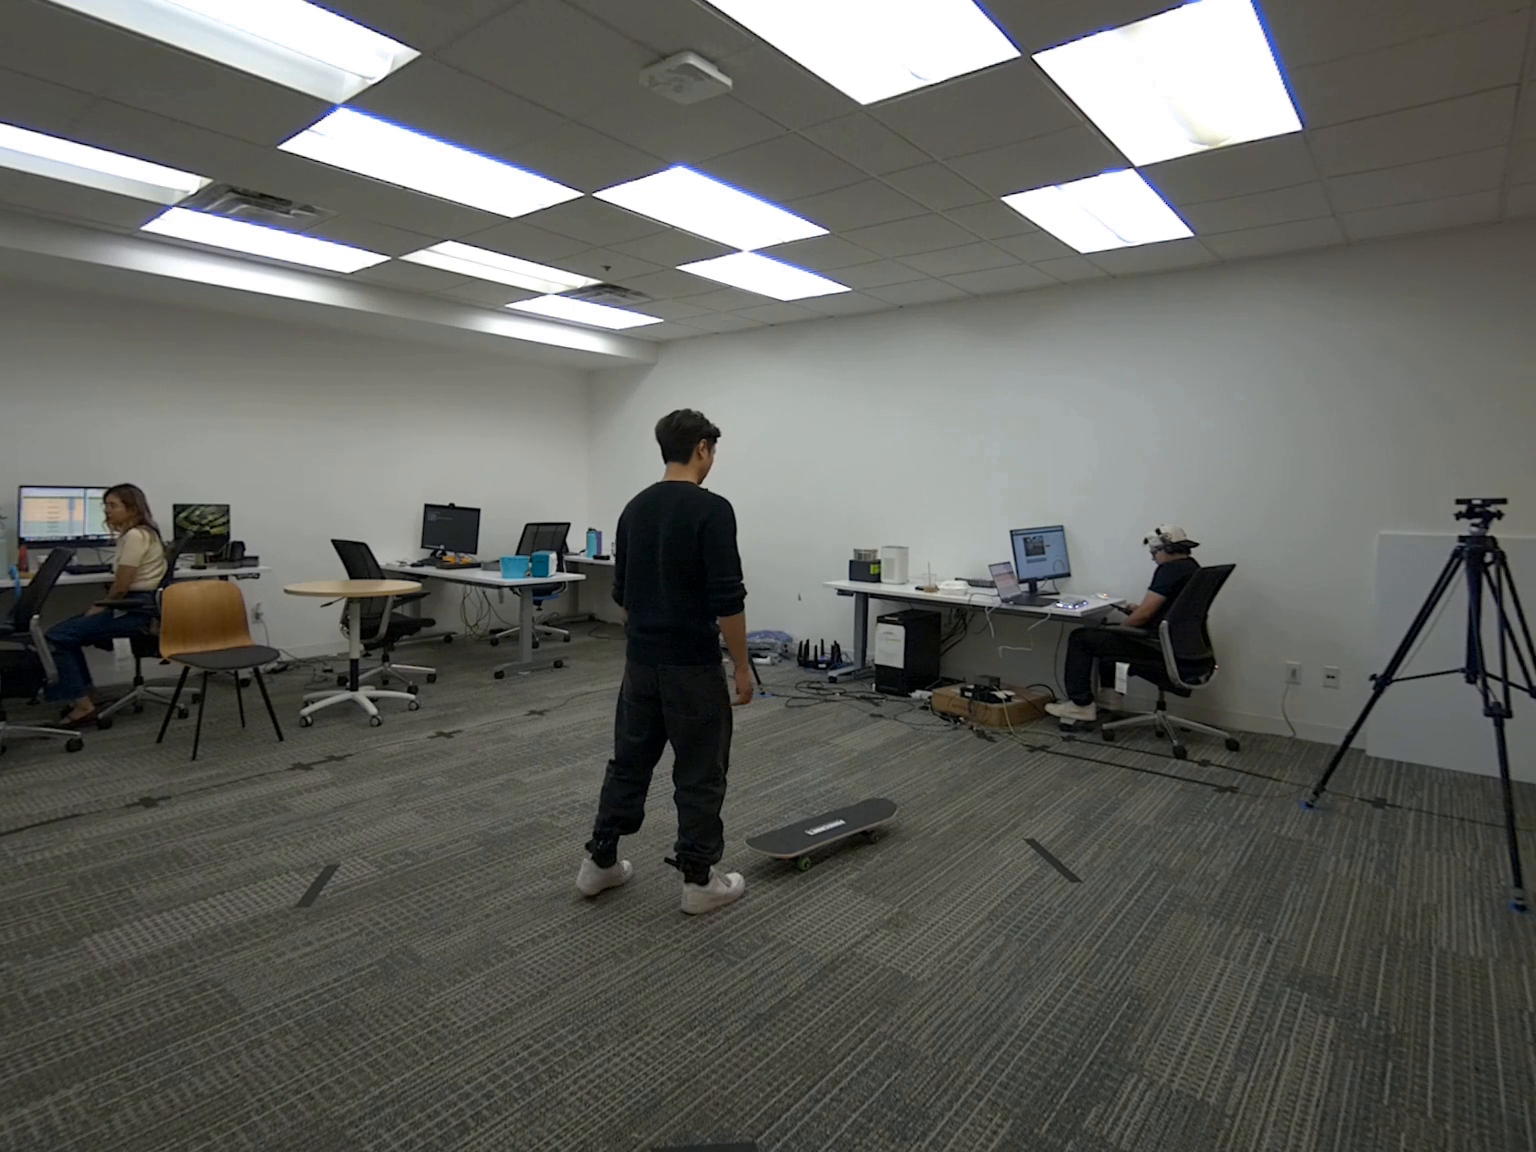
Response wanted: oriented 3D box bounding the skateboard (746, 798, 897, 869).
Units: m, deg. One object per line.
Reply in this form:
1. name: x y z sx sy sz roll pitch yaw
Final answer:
1. skateboard: 0.219 1.007 3.311 0.762 0.110 0.200 -4 8 -42
